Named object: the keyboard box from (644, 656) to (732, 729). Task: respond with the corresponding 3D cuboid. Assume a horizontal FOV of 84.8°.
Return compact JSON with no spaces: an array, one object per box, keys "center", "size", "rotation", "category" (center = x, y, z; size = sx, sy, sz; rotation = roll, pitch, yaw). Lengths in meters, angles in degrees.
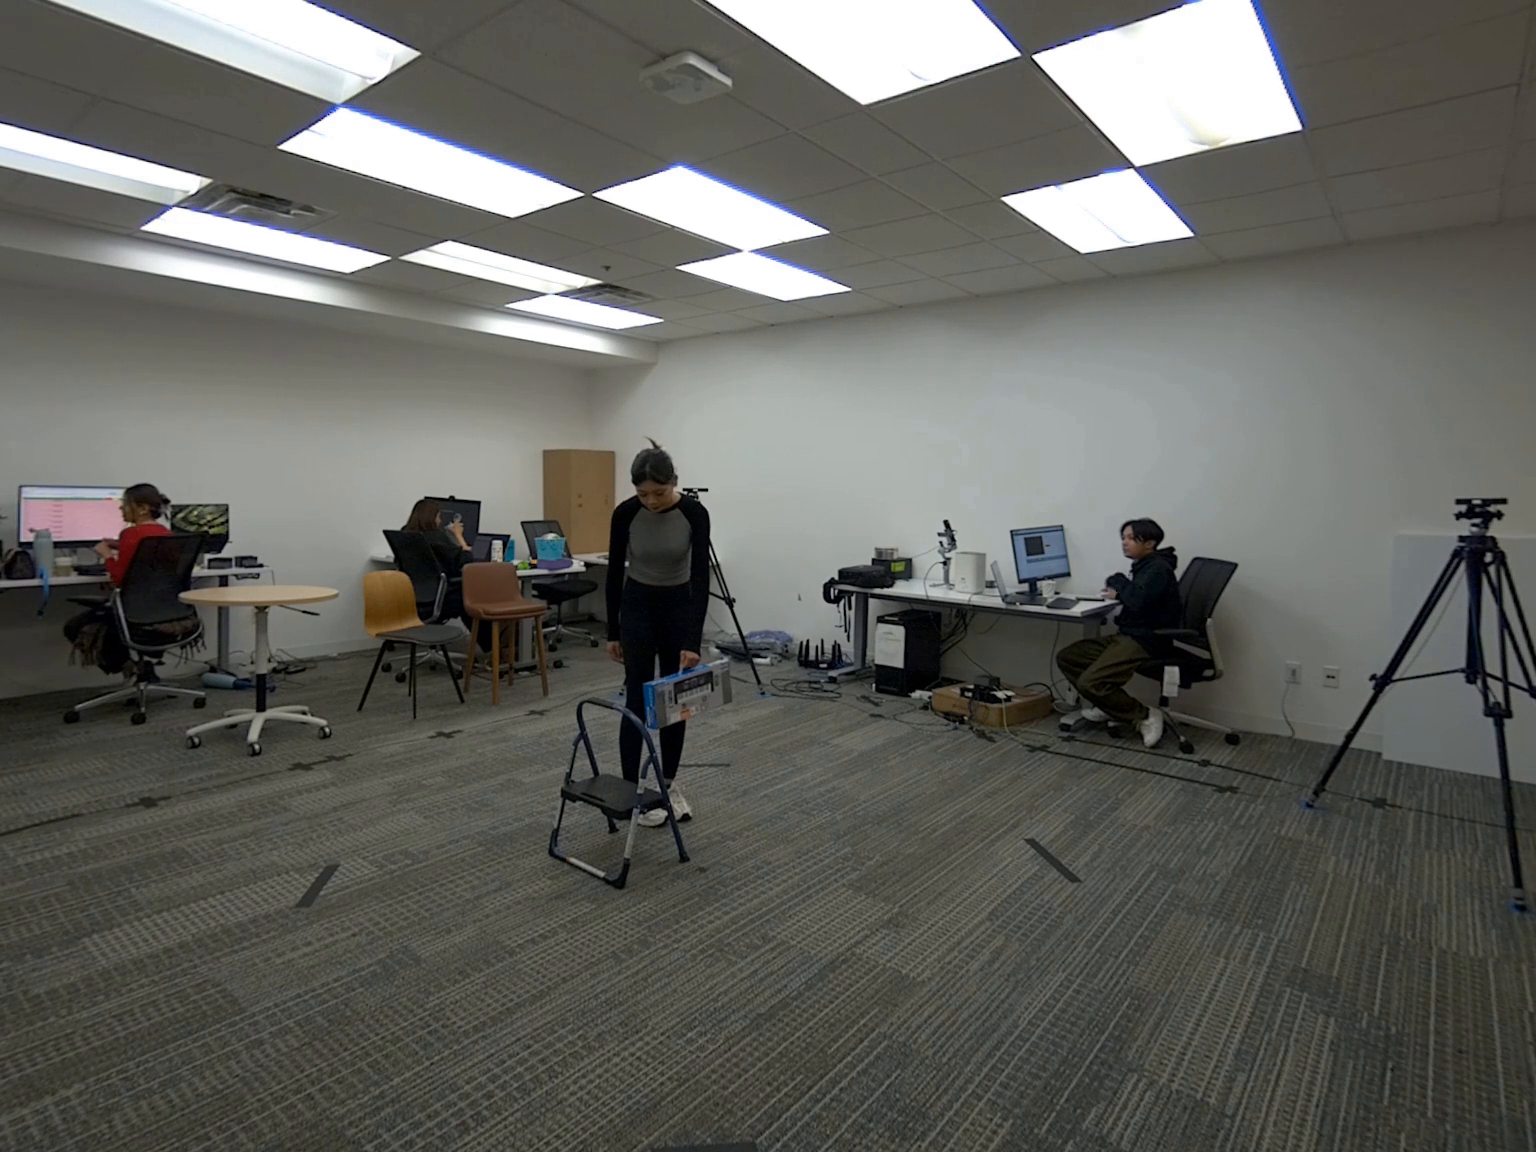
[{"center":[-0.320,0.463,3.360],"size":[0.061,0.175,0.425],"rotation":[-1,7,40],"category":"keyboard box"}]
